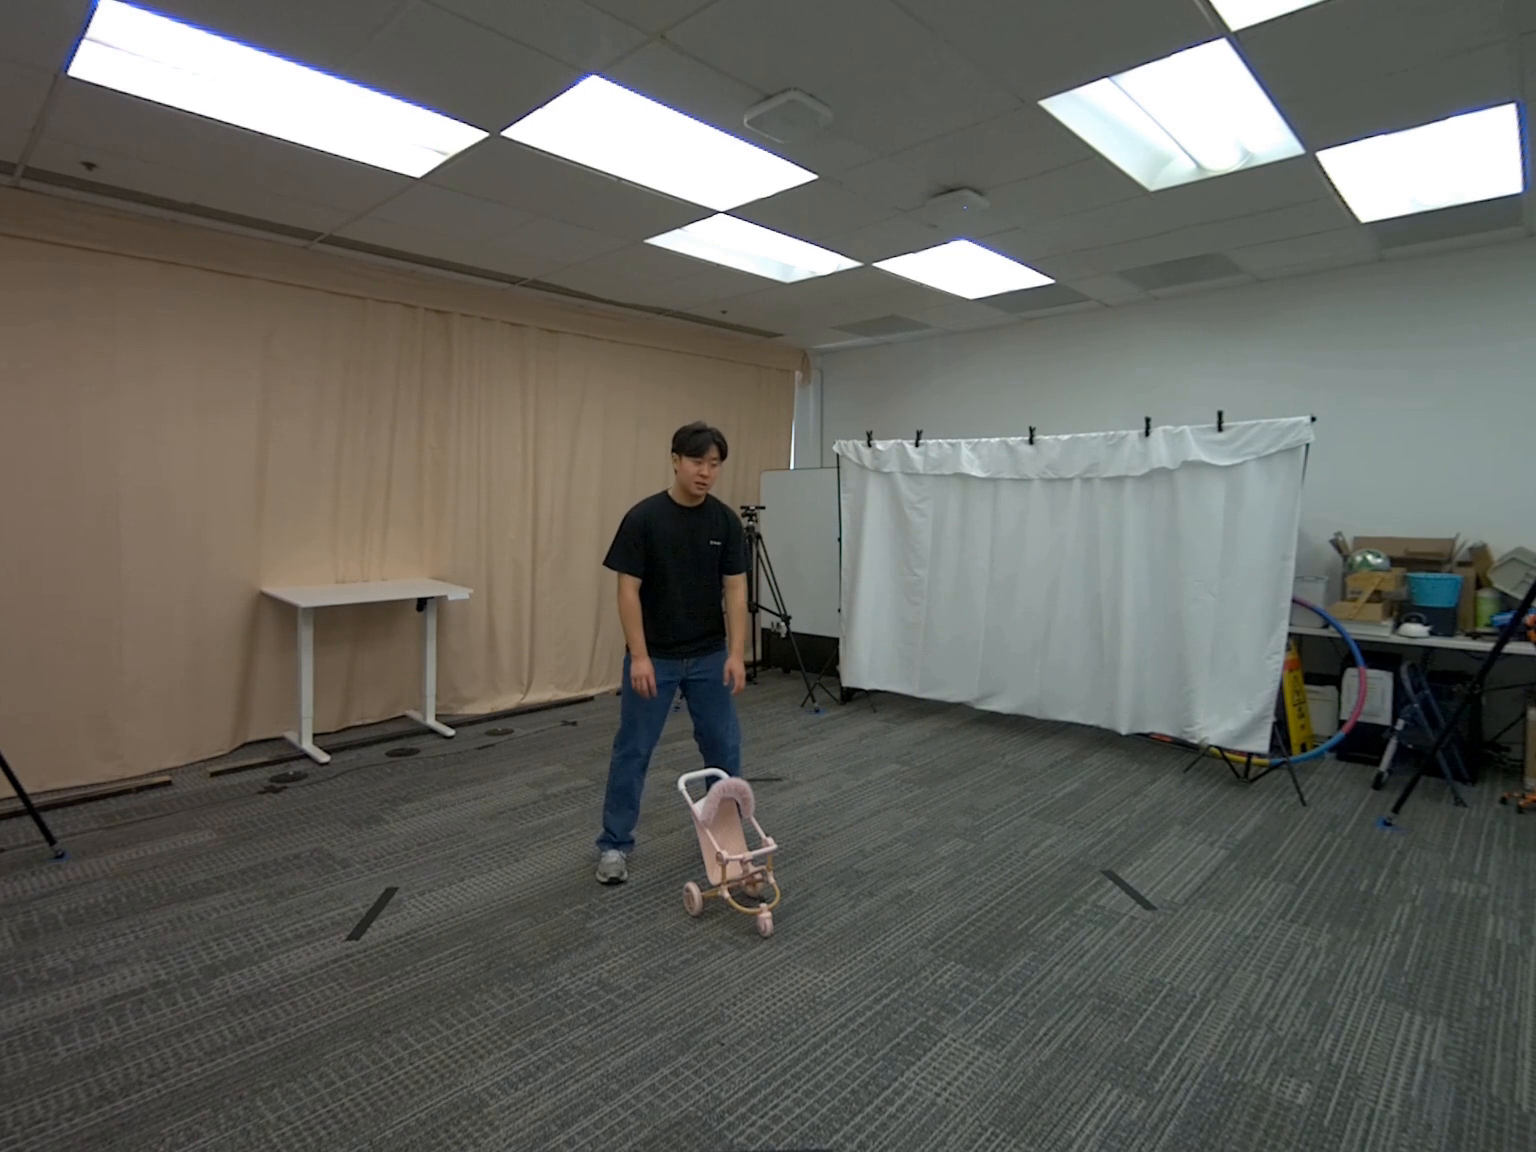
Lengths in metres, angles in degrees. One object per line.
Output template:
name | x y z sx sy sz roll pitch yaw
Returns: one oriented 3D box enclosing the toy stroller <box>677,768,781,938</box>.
toy stroller | -0.118 0.930 2.870 0.274 0.539 0.348 -2 -12 -31
